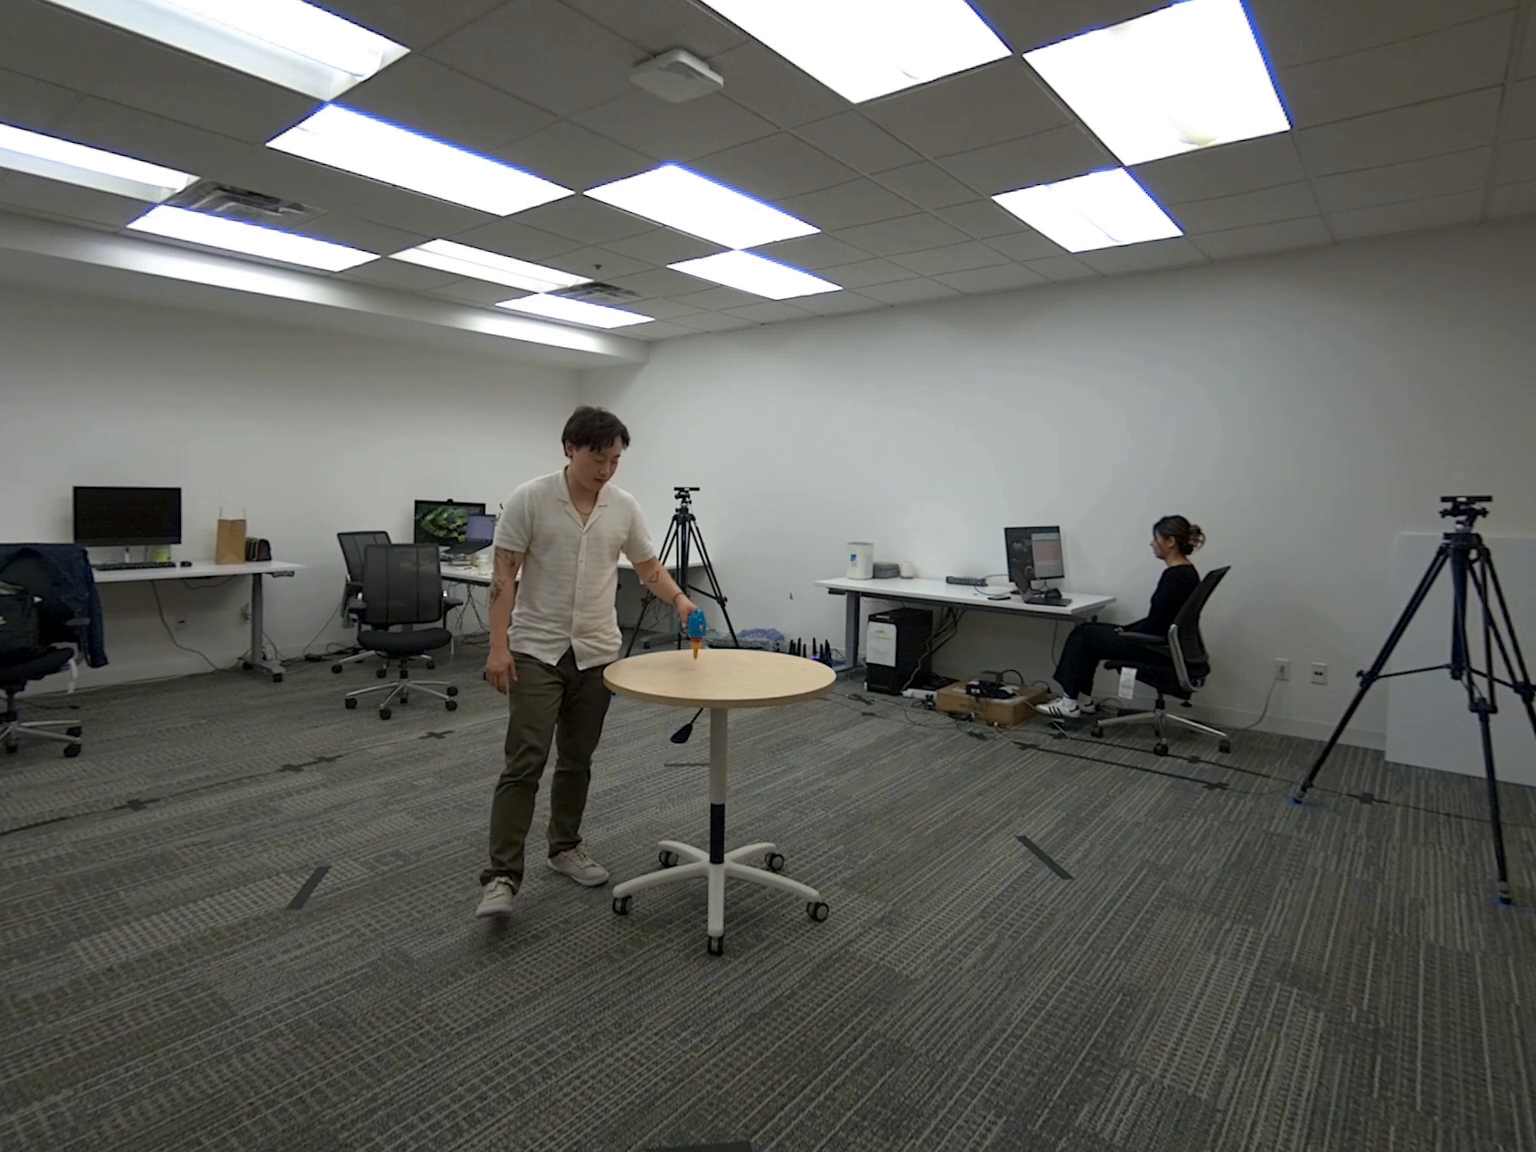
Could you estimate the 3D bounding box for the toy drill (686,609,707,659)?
[{"bbox_3d":[-0.270,0.201,2.856,0.060,0.171,0.148,-4,-6,-24],"label":"toy drill"}]
